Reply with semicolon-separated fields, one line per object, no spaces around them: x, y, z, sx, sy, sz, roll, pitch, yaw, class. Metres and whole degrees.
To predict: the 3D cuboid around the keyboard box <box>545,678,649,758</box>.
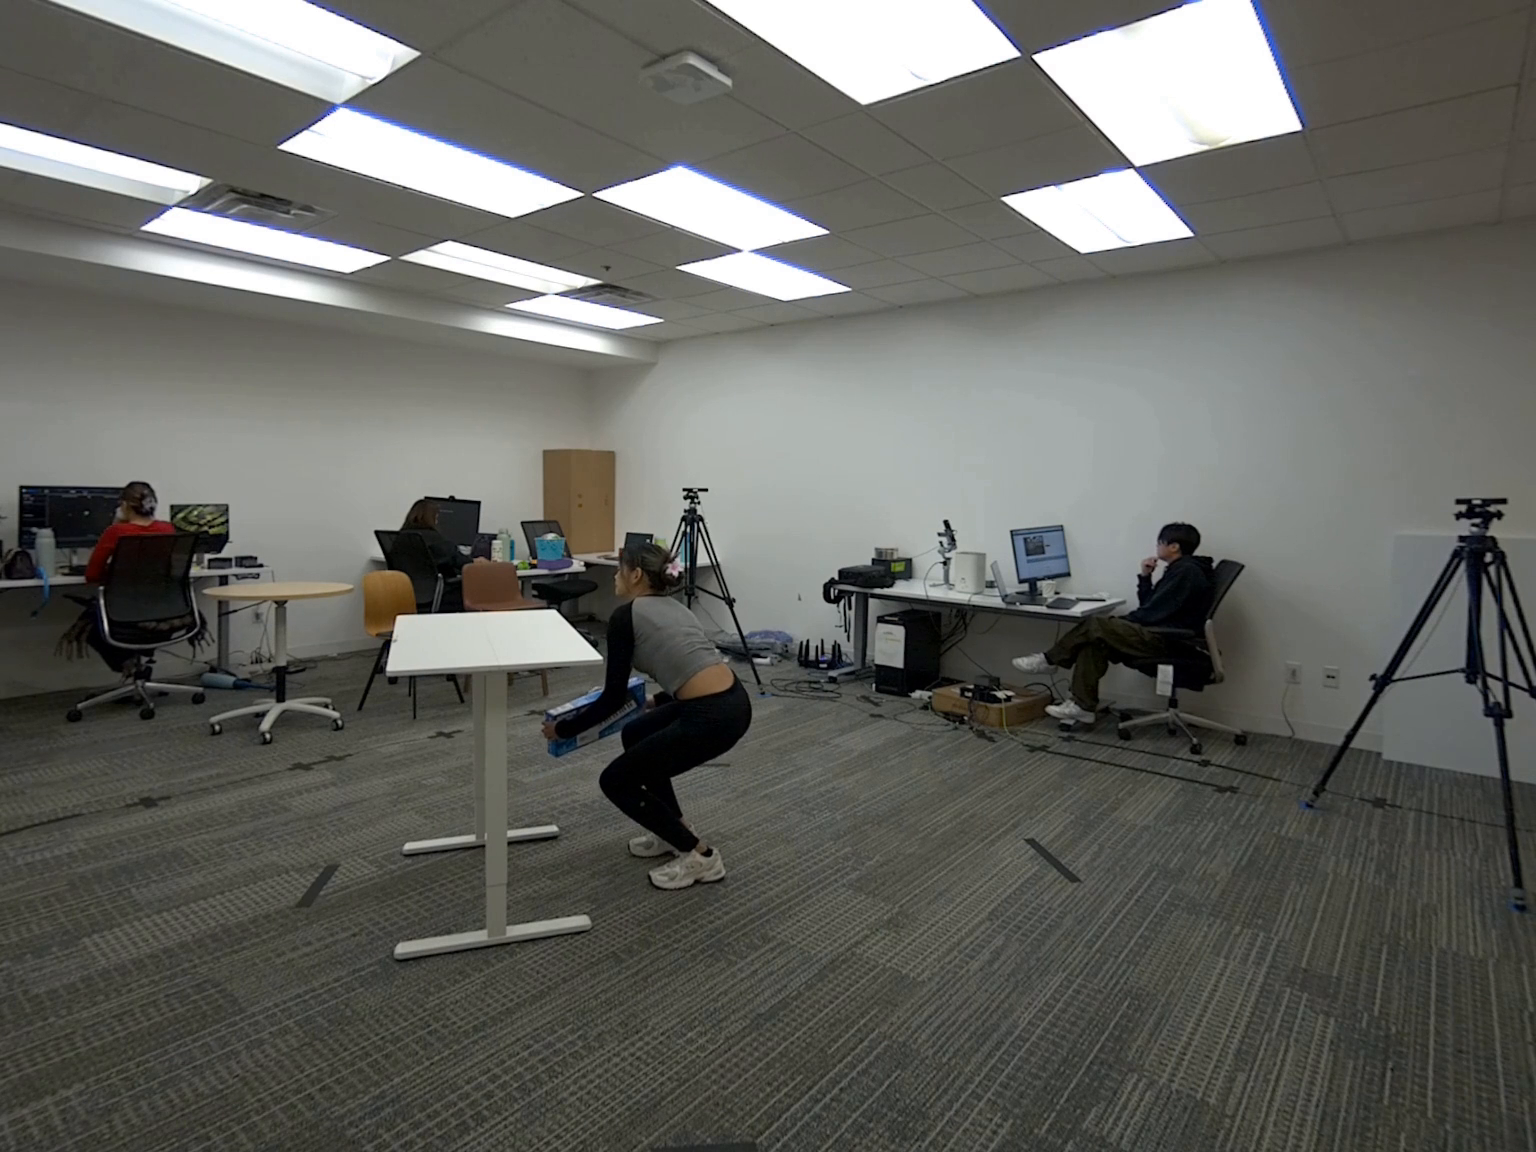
-0.678;0.549;3.329;0.061;0.173;0.427;12;21;43;keyboard box
